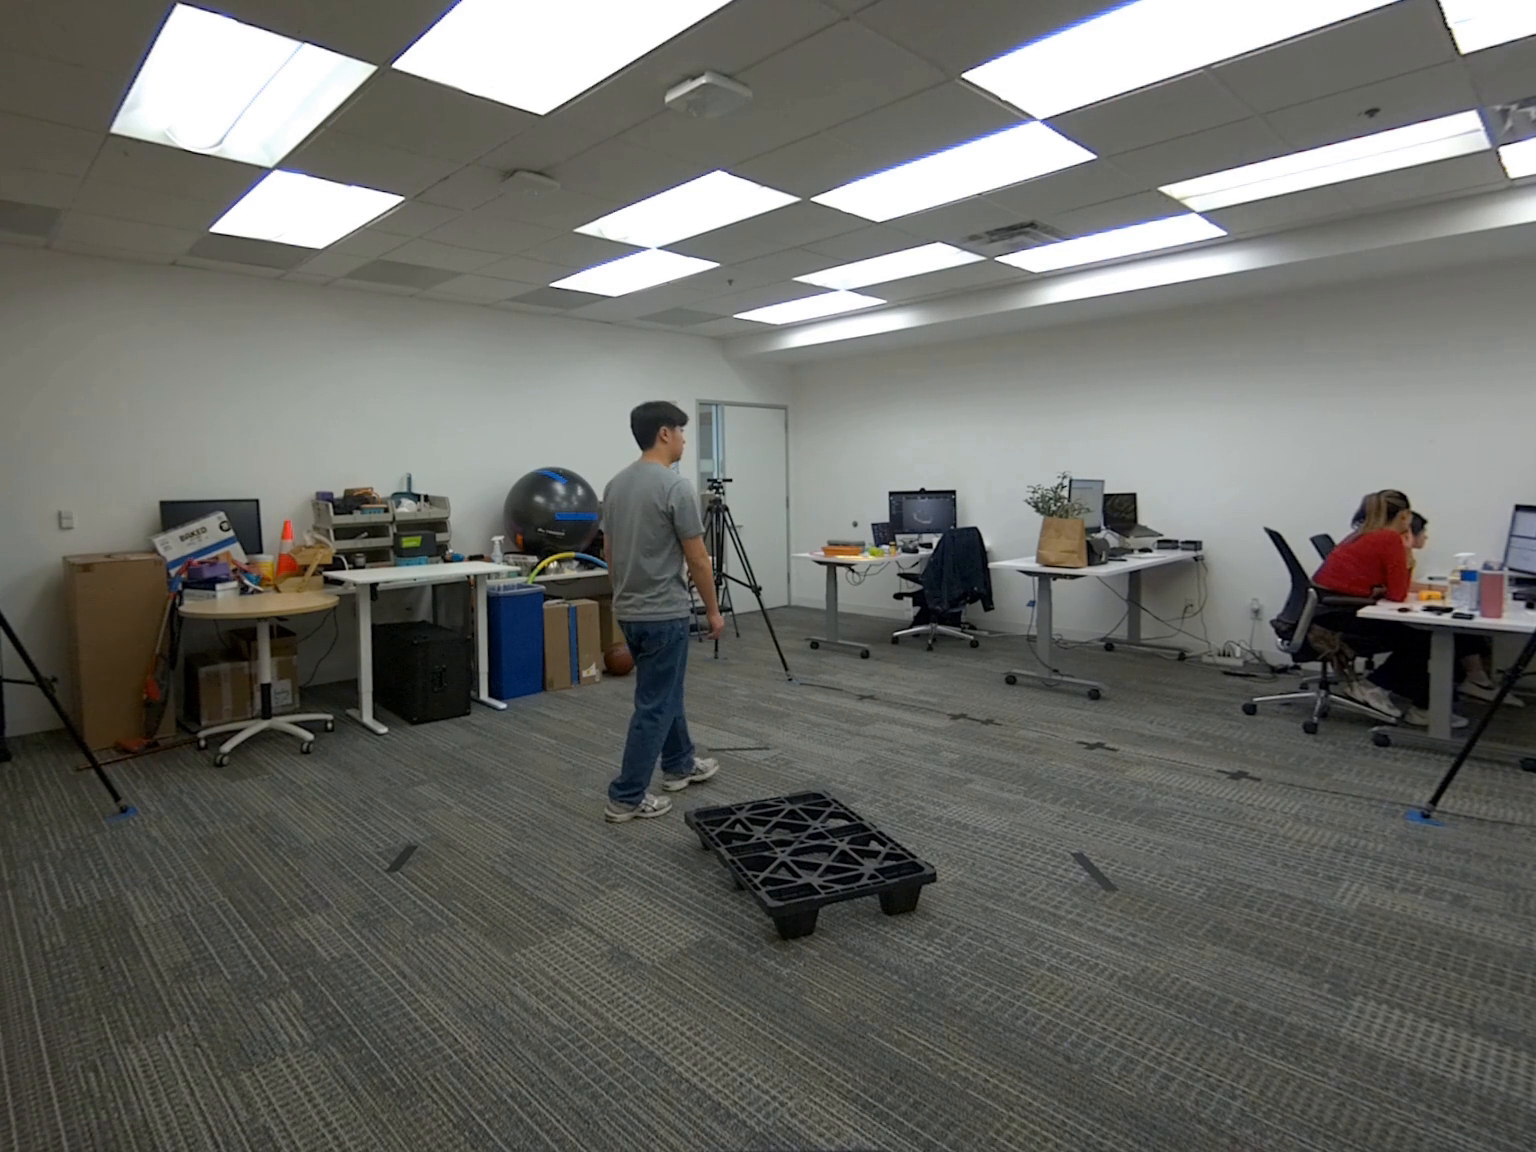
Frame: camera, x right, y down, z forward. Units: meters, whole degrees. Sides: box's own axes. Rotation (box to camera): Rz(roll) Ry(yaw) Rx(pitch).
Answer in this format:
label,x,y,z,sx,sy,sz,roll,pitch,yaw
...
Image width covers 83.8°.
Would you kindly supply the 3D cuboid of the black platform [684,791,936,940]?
label,x,y,z,sx,sy,sz,roll,pitch,yaw
black platform,0.114,0.986,2.995,0.594,0.142,0.825,-4,7,-23
